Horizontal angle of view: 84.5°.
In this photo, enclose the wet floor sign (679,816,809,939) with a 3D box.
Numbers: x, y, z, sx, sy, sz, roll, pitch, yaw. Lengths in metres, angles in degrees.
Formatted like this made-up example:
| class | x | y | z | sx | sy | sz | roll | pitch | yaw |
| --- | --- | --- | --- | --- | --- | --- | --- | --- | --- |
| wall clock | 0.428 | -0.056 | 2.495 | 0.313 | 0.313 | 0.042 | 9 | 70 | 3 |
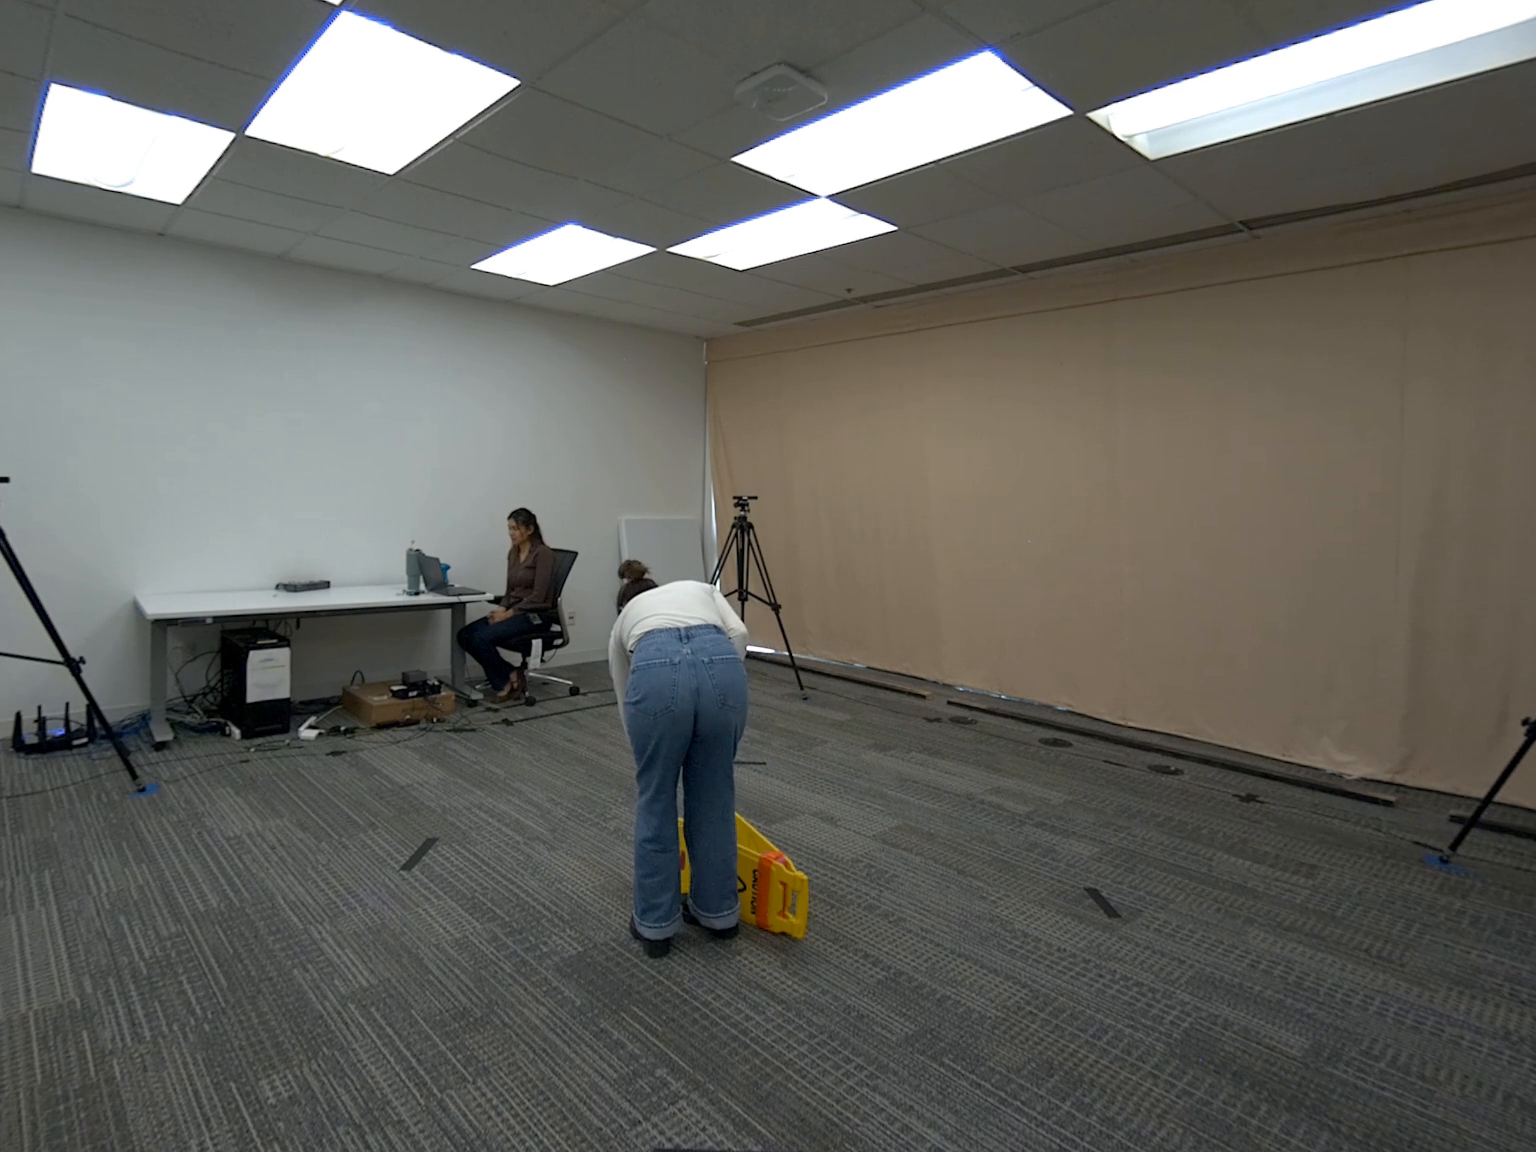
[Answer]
| class | x | y | z | sx | sy | sz | roll | pitch | yaw |
| --- | --- | --- | --- | --- | --- | --- | --- | --- | --- |
| wet floor sign | -0.106 | 0.999 | 2.856 | 0.283 | 0.281 | 0.663 | -3 | 7 | -42 |
